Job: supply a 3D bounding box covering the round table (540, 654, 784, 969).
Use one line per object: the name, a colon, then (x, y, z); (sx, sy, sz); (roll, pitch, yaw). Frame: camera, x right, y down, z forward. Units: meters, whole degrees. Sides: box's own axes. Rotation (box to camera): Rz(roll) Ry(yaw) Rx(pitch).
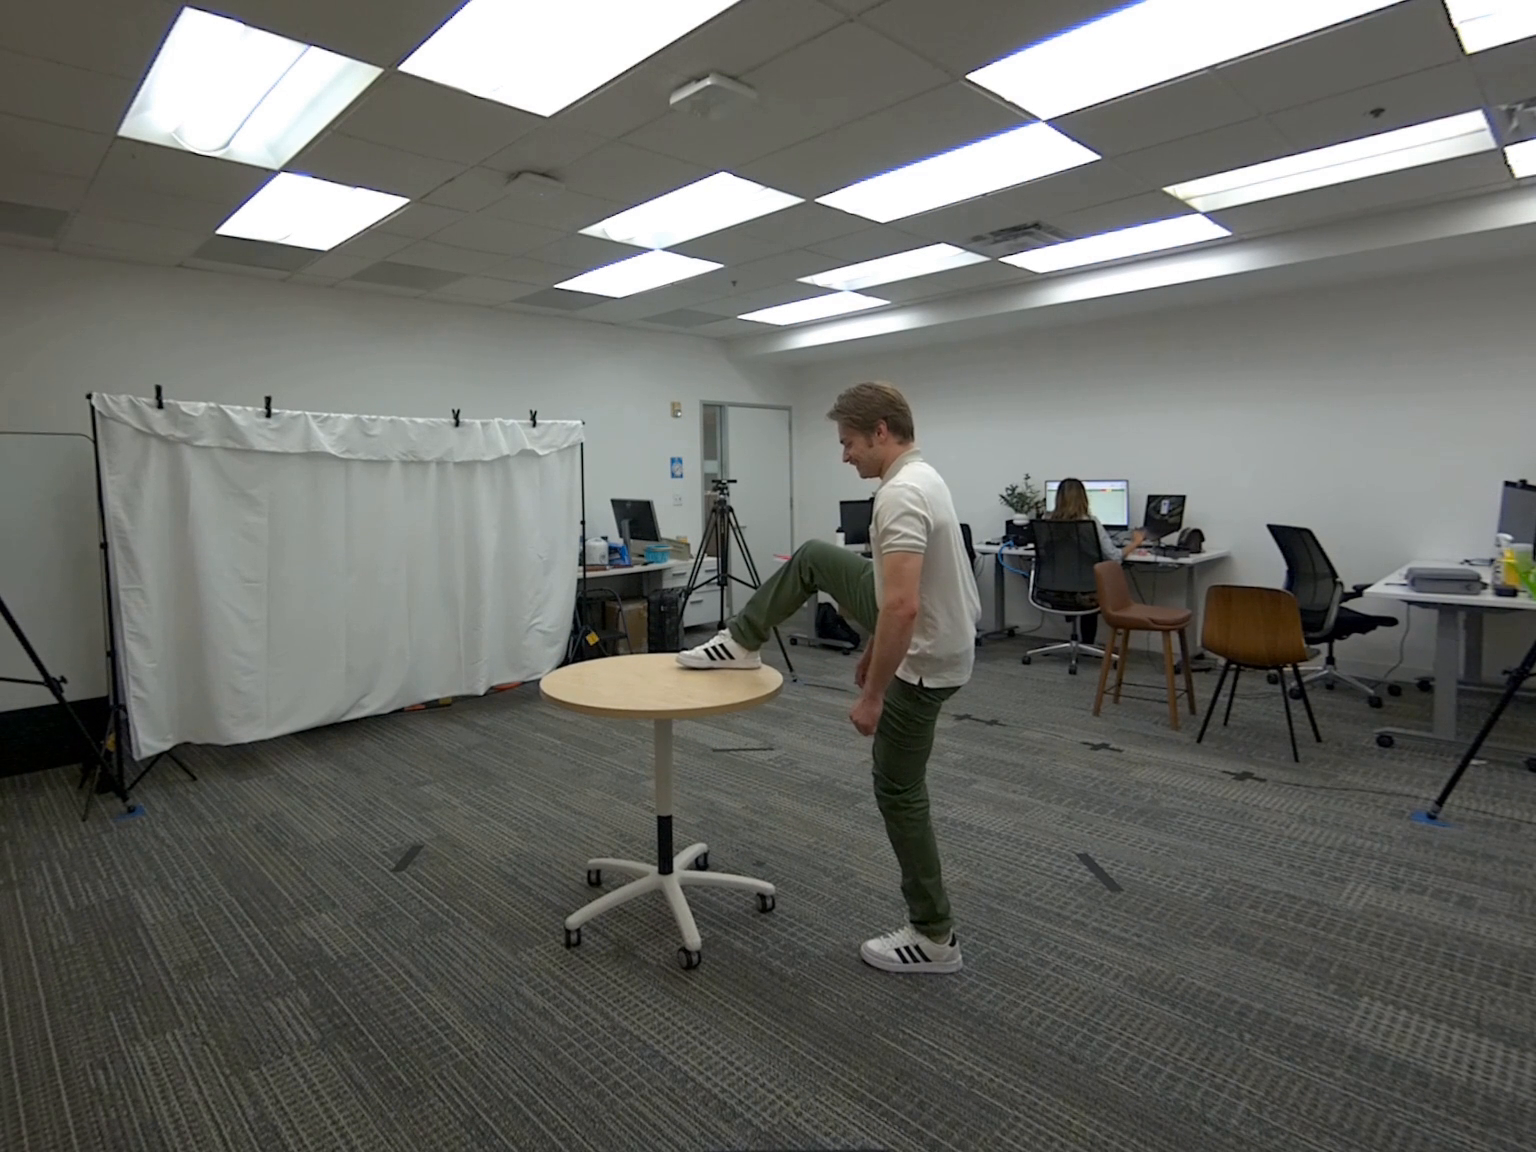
round table: (-0.337, 0.711, 2.747); (0.763, 0.791, 0.768); (-1, 5, -2)
